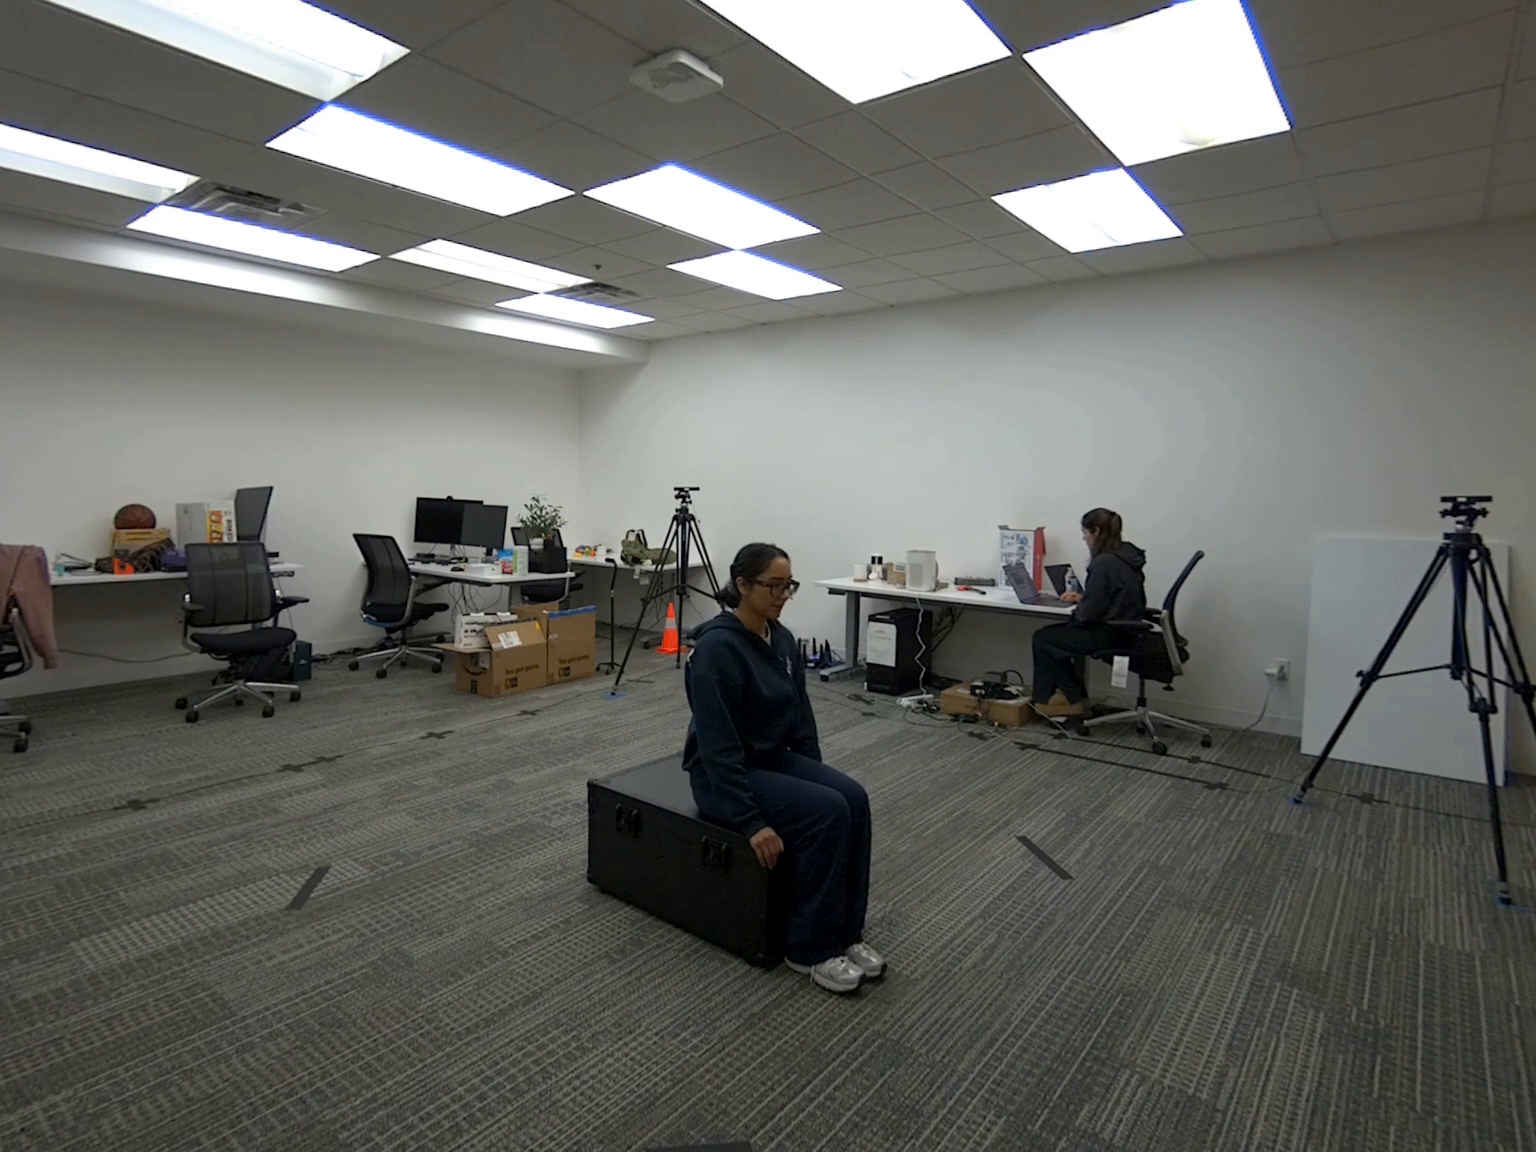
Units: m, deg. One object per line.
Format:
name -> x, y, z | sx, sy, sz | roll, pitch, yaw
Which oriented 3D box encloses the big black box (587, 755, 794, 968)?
big black box -> -0.204, 0.903, 2.883 | 0.891, 0.395, 0.506 | 7, 6, 39
